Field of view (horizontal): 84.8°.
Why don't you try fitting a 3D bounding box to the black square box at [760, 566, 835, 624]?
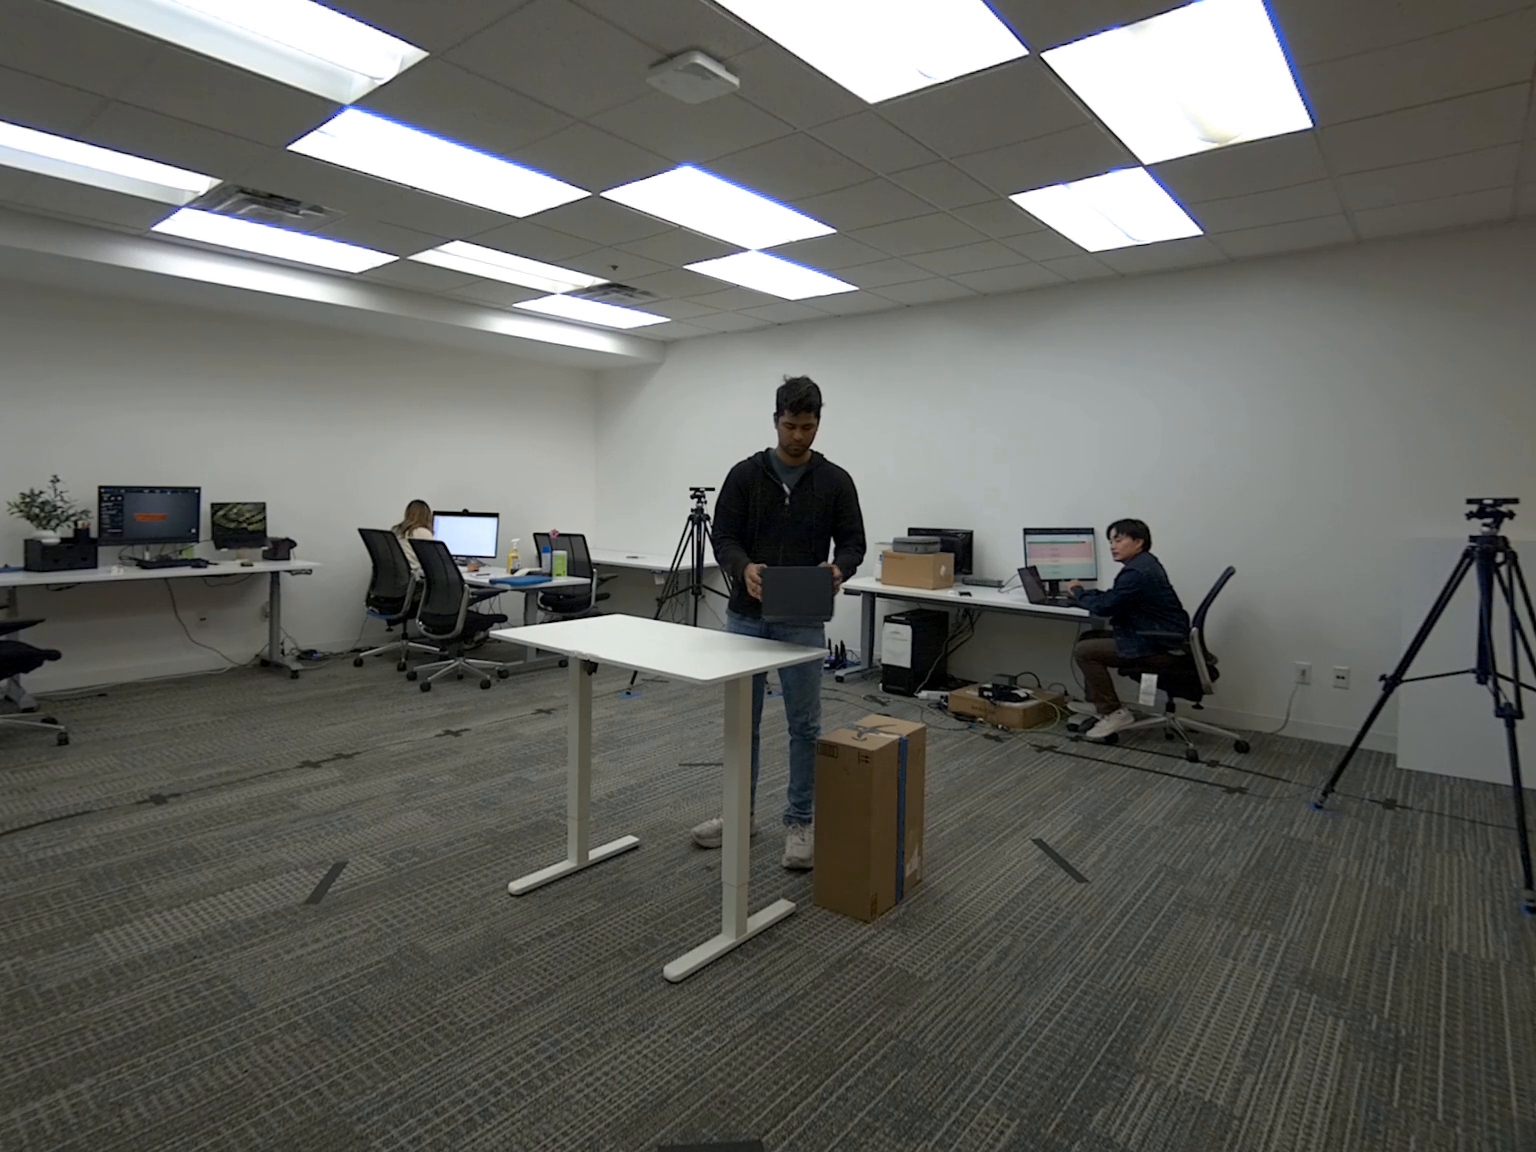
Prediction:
[{"bbox_3d":[0.088,0.063,2.774,0.229,0.157,0.214,0,-7,5],"label":"black square box"}]
